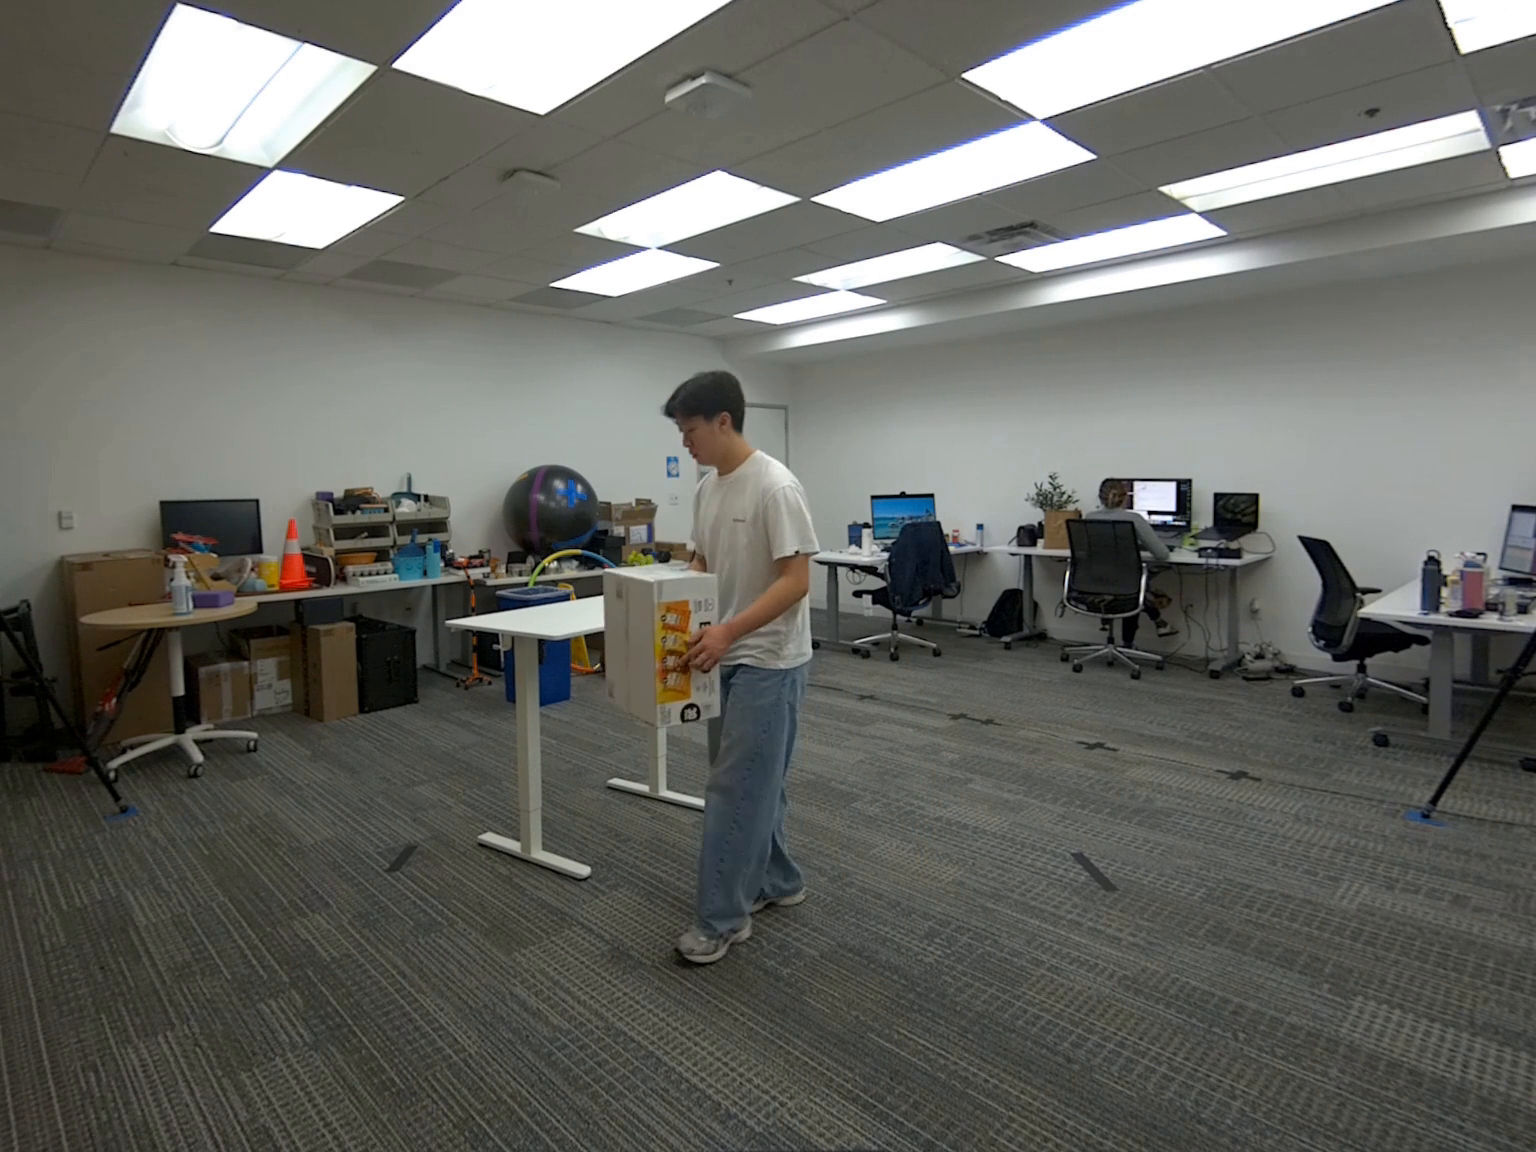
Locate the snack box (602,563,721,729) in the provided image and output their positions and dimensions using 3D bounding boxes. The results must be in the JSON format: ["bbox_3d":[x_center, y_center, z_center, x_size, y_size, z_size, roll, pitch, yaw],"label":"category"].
[{"bbox_3d":[-0.312,0.193,2.479,0.201,0.403,0.350,-4,6,-33],"label":"snack box"}]
